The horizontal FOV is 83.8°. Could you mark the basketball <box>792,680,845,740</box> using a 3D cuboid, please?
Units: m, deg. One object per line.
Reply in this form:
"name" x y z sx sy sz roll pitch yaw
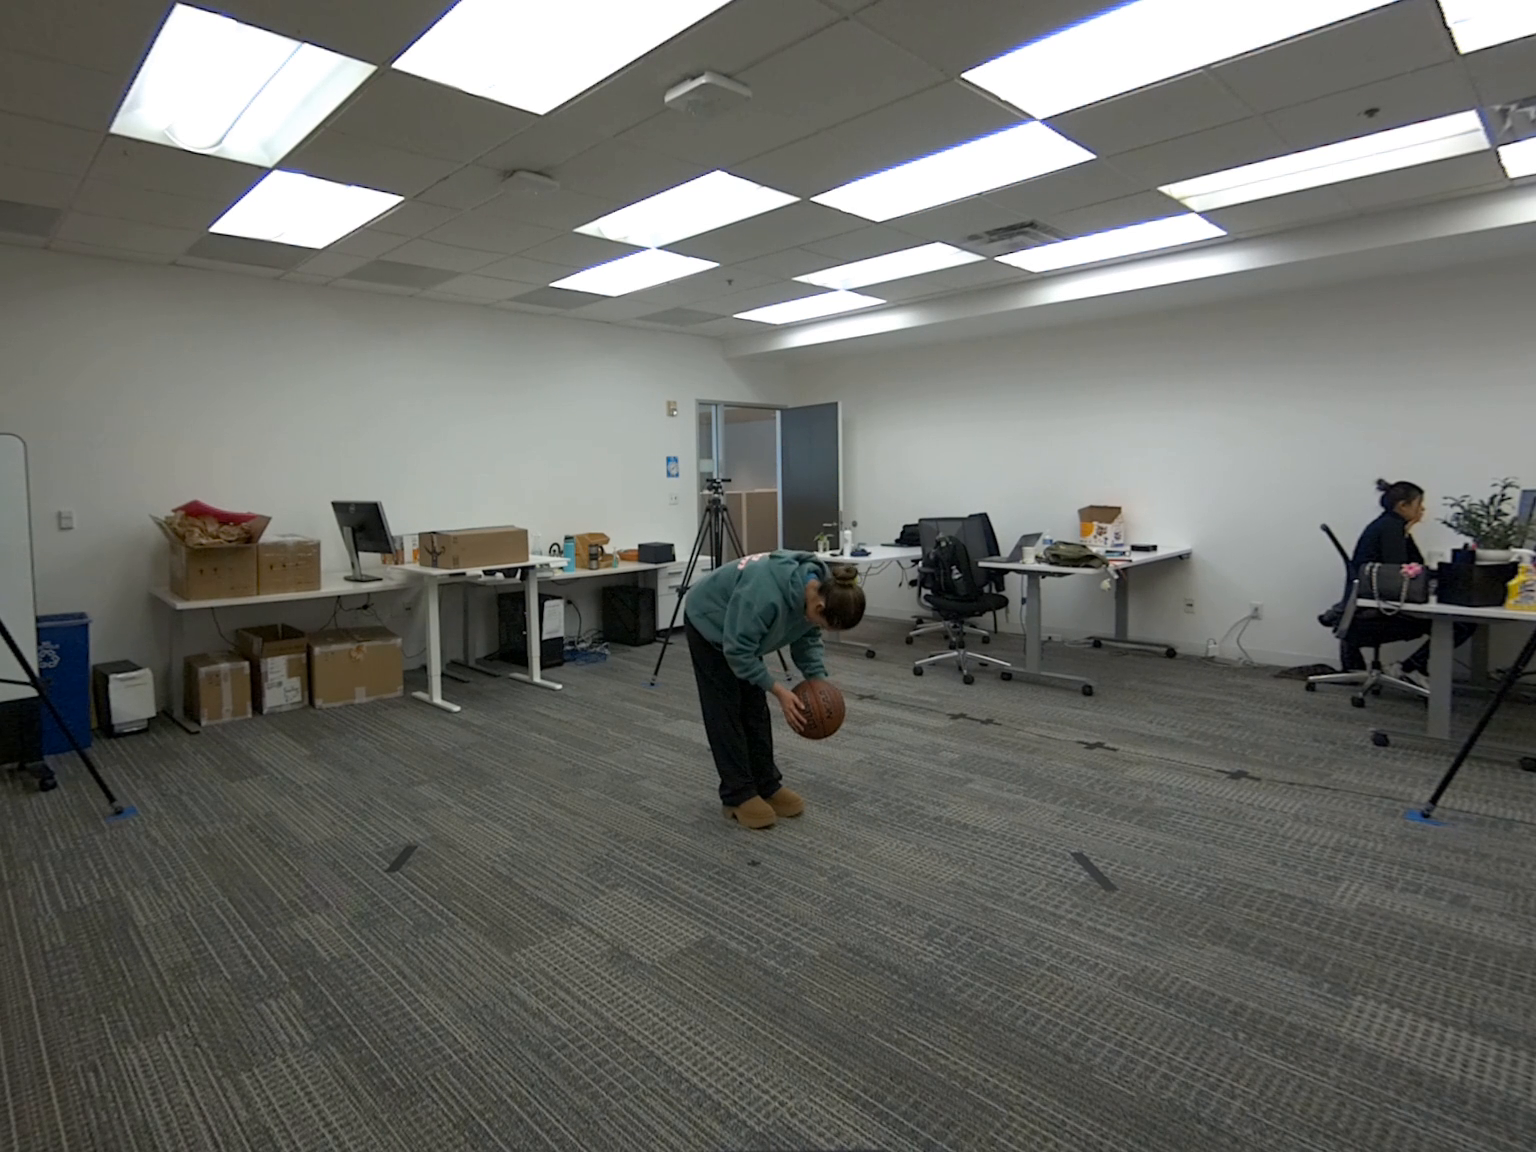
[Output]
"basketball" 0.173 0.519 3.344 0.236 0.235 0.237 -1 5 -2
